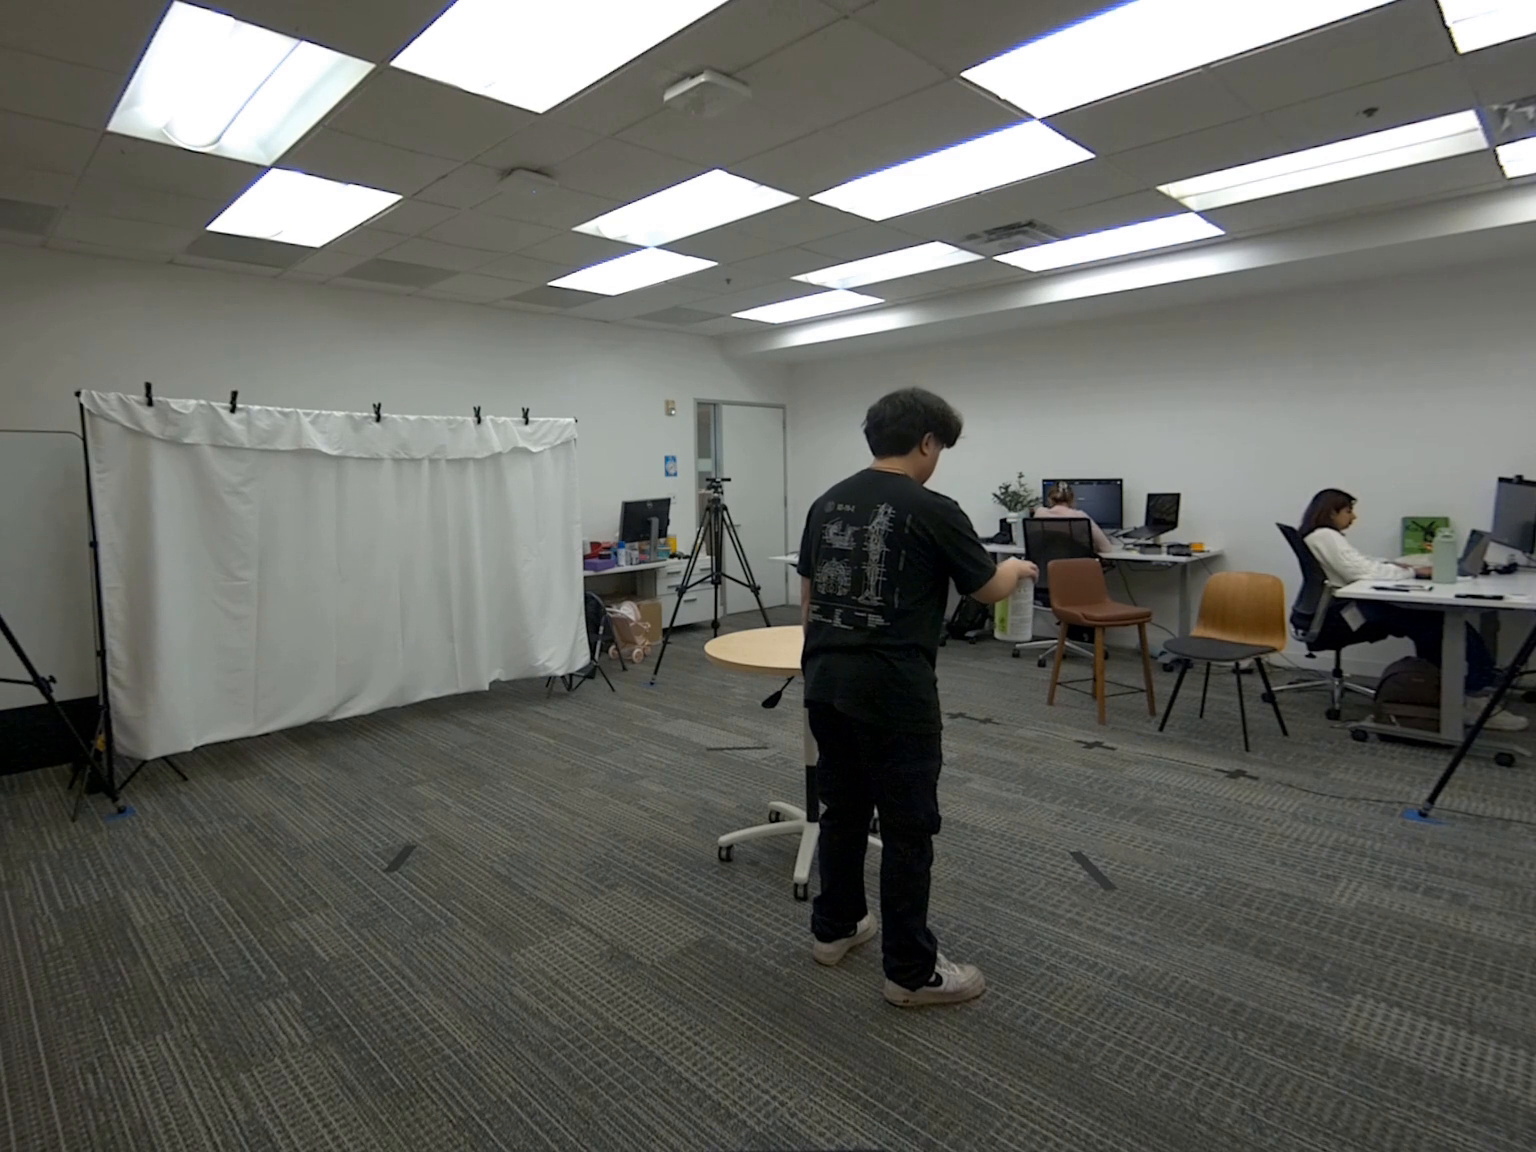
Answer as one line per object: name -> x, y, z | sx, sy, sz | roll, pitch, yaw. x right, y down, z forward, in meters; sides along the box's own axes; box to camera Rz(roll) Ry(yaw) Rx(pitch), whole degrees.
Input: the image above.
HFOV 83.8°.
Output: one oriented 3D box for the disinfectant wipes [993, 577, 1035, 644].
disinfectant wipes -> 0.757, 0.092, 2.626 | 0.118, 0.217, 0.118 | 0, 4, -2
